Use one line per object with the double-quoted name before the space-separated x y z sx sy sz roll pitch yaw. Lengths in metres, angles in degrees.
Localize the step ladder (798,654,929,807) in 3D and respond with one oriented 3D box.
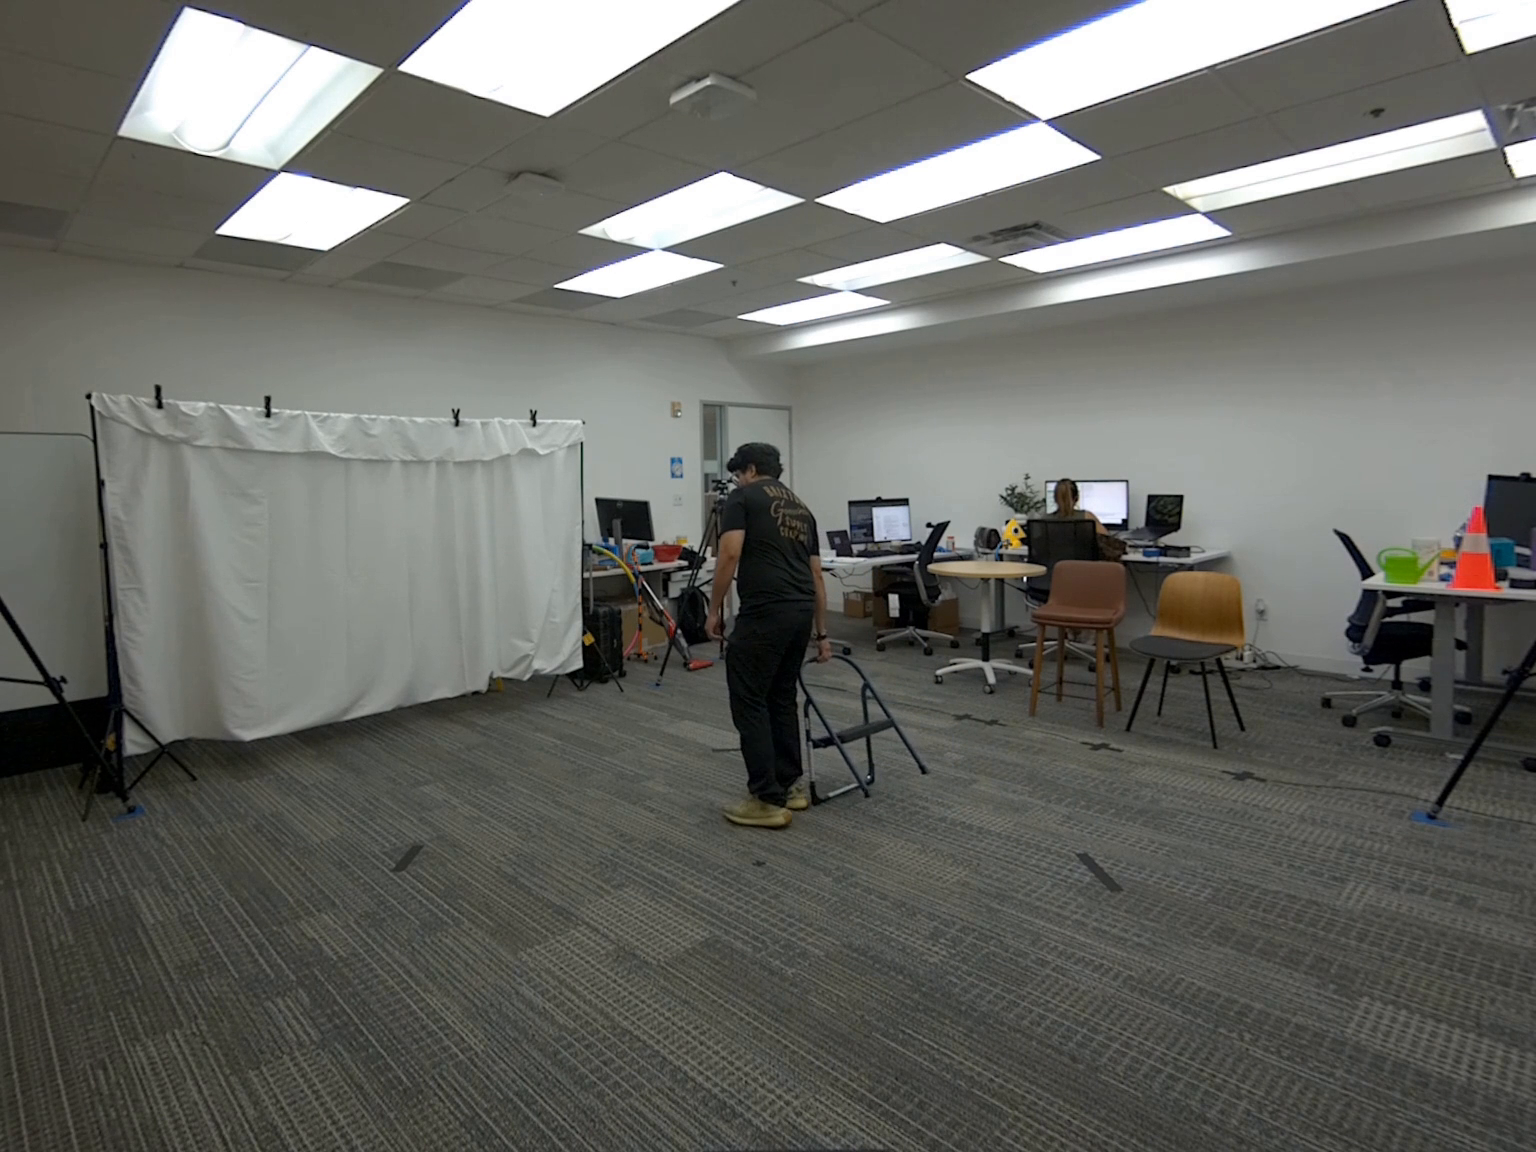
"step ladder" 0.365 0.625 3.747 0.419 0.615 0.354 -5 -17 -44
